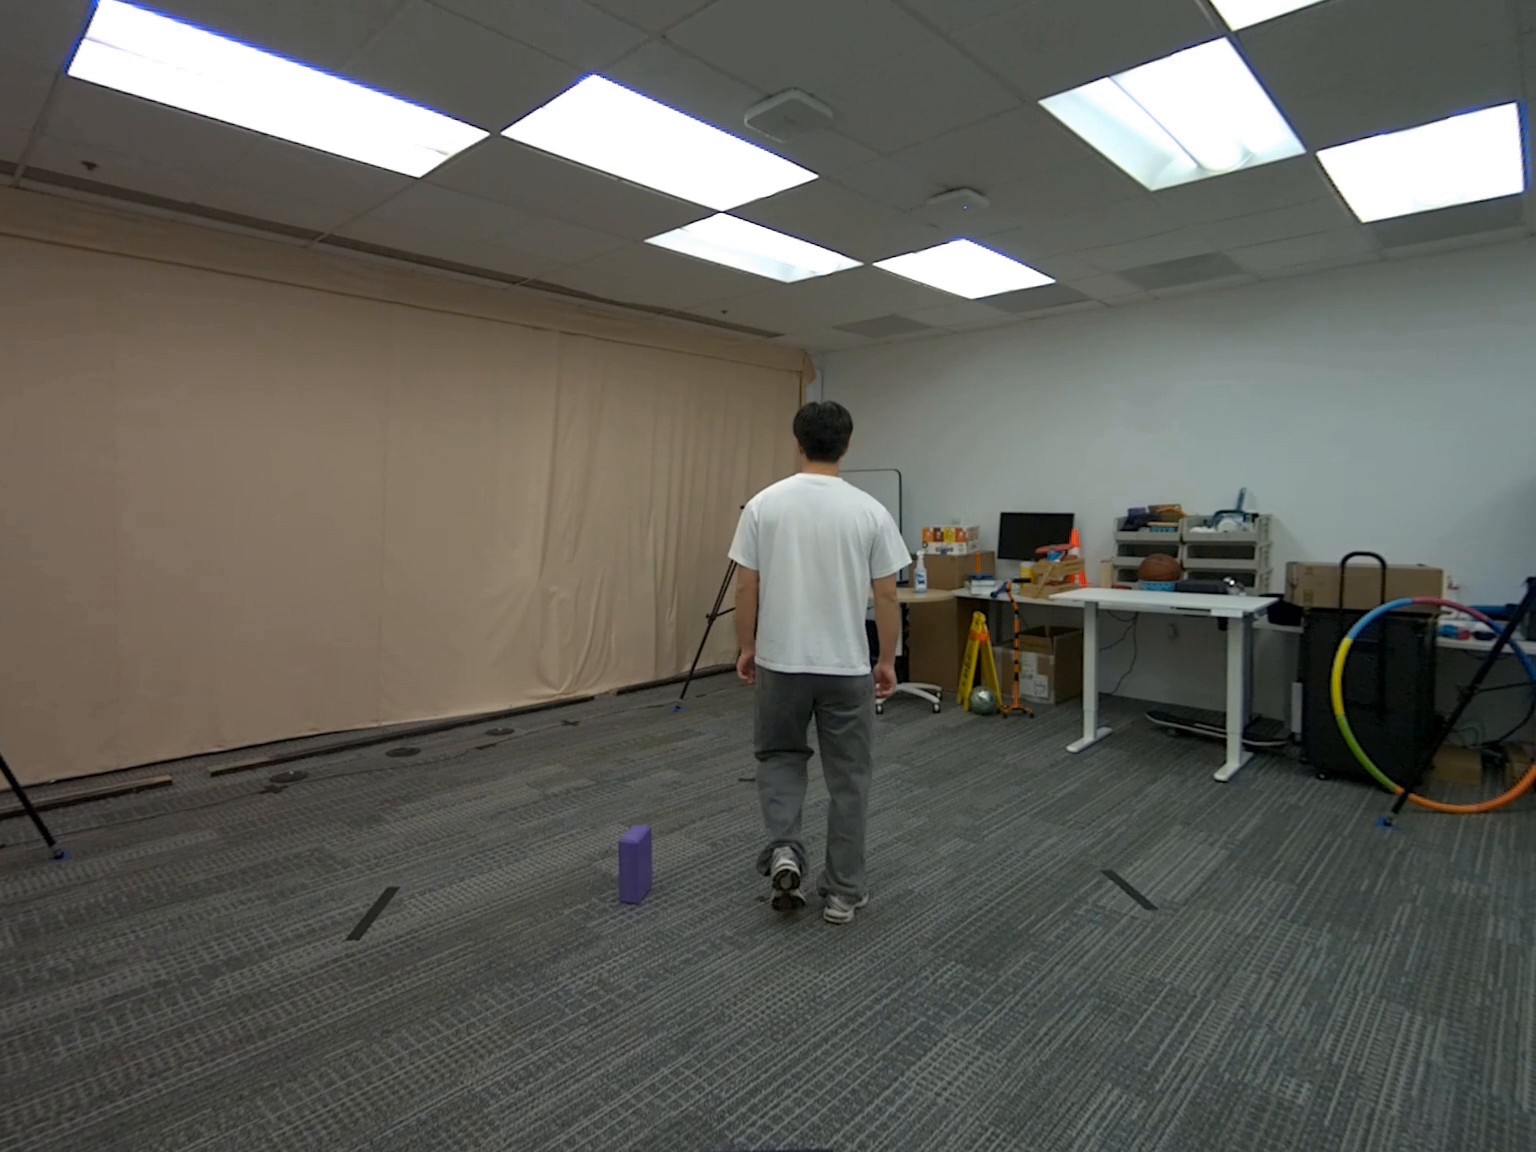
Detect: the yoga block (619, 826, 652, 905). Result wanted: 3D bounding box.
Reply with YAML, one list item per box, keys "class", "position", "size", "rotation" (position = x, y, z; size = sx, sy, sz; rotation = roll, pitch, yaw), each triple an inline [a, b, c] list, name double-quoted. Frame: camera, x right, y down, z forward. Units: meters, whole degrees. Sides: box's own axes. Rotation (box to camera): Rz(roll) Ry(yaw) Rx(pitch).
- class: "yoga block"
  position: [-0.467, 1.034, 3.011]
  size: [0.077, 0.229, 0.147]
  rotation: [-2, 3, 11]
